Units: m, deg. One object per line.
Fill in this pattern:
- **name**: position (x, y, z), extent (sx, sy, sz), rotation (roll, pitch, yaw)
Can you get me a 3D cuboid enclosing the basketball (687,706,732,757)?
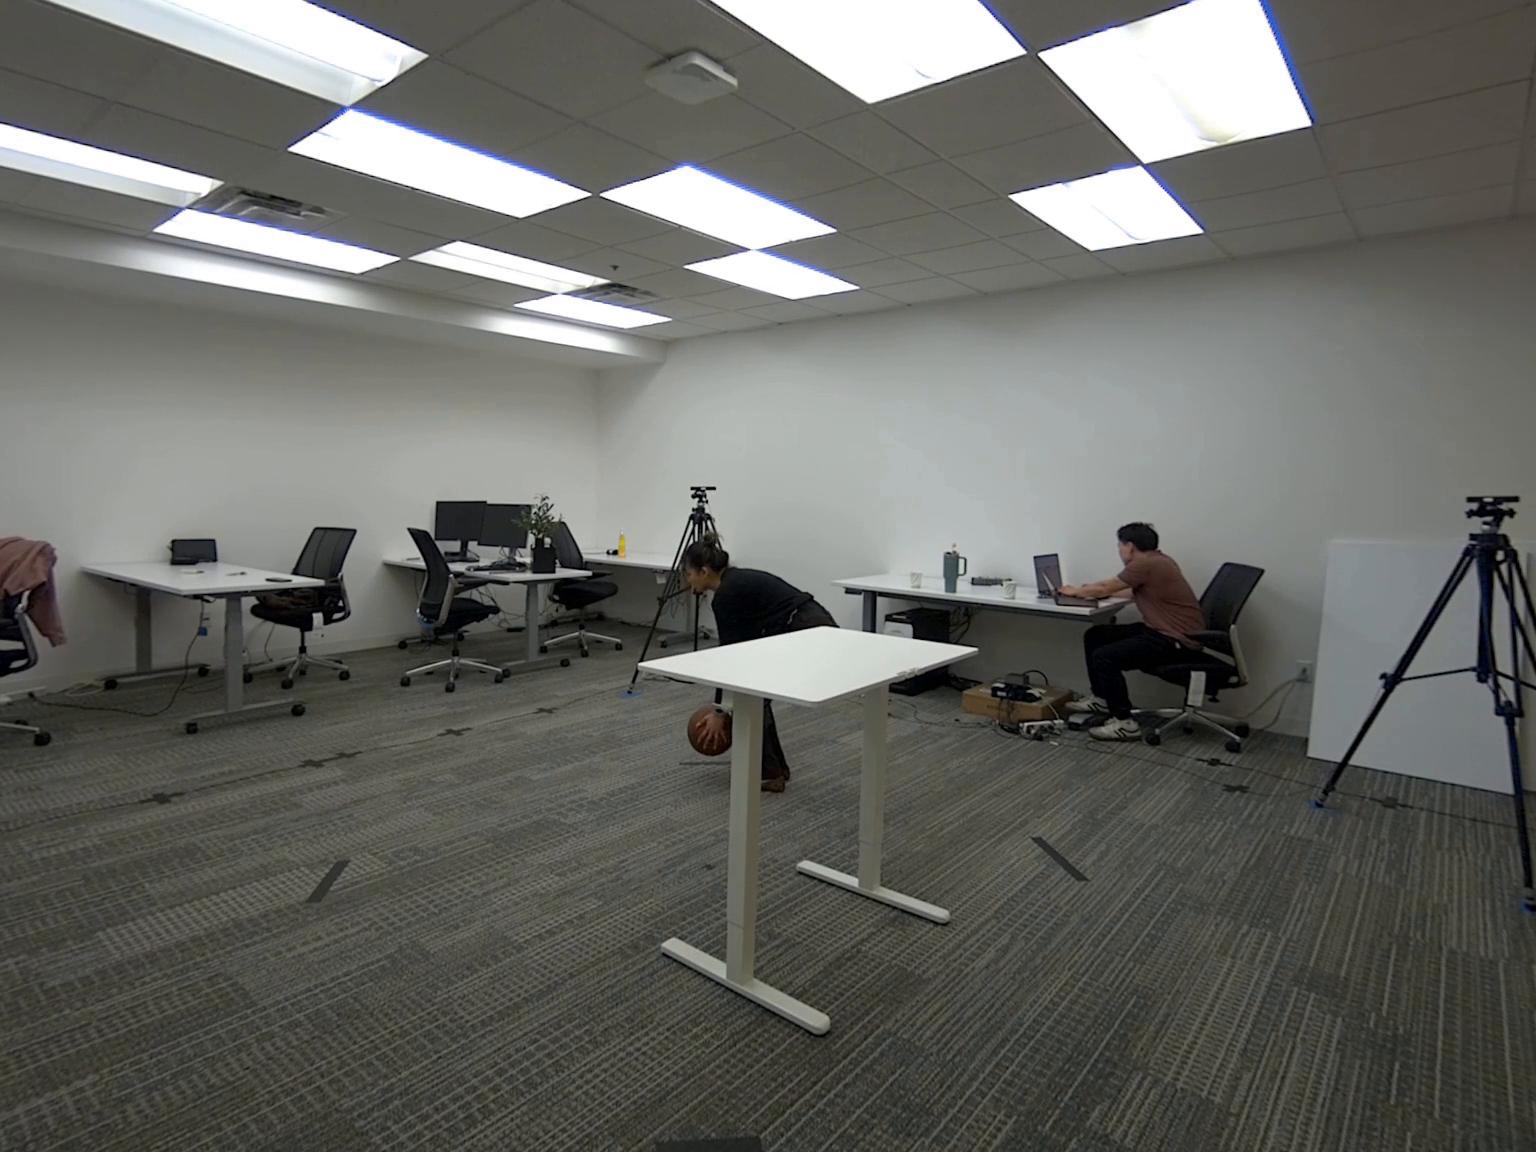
- **basketball**: position (-0.281, 0.733, 4.119), extent (0.235, 0.235, 0.237), rotation (1, 4, -2)
